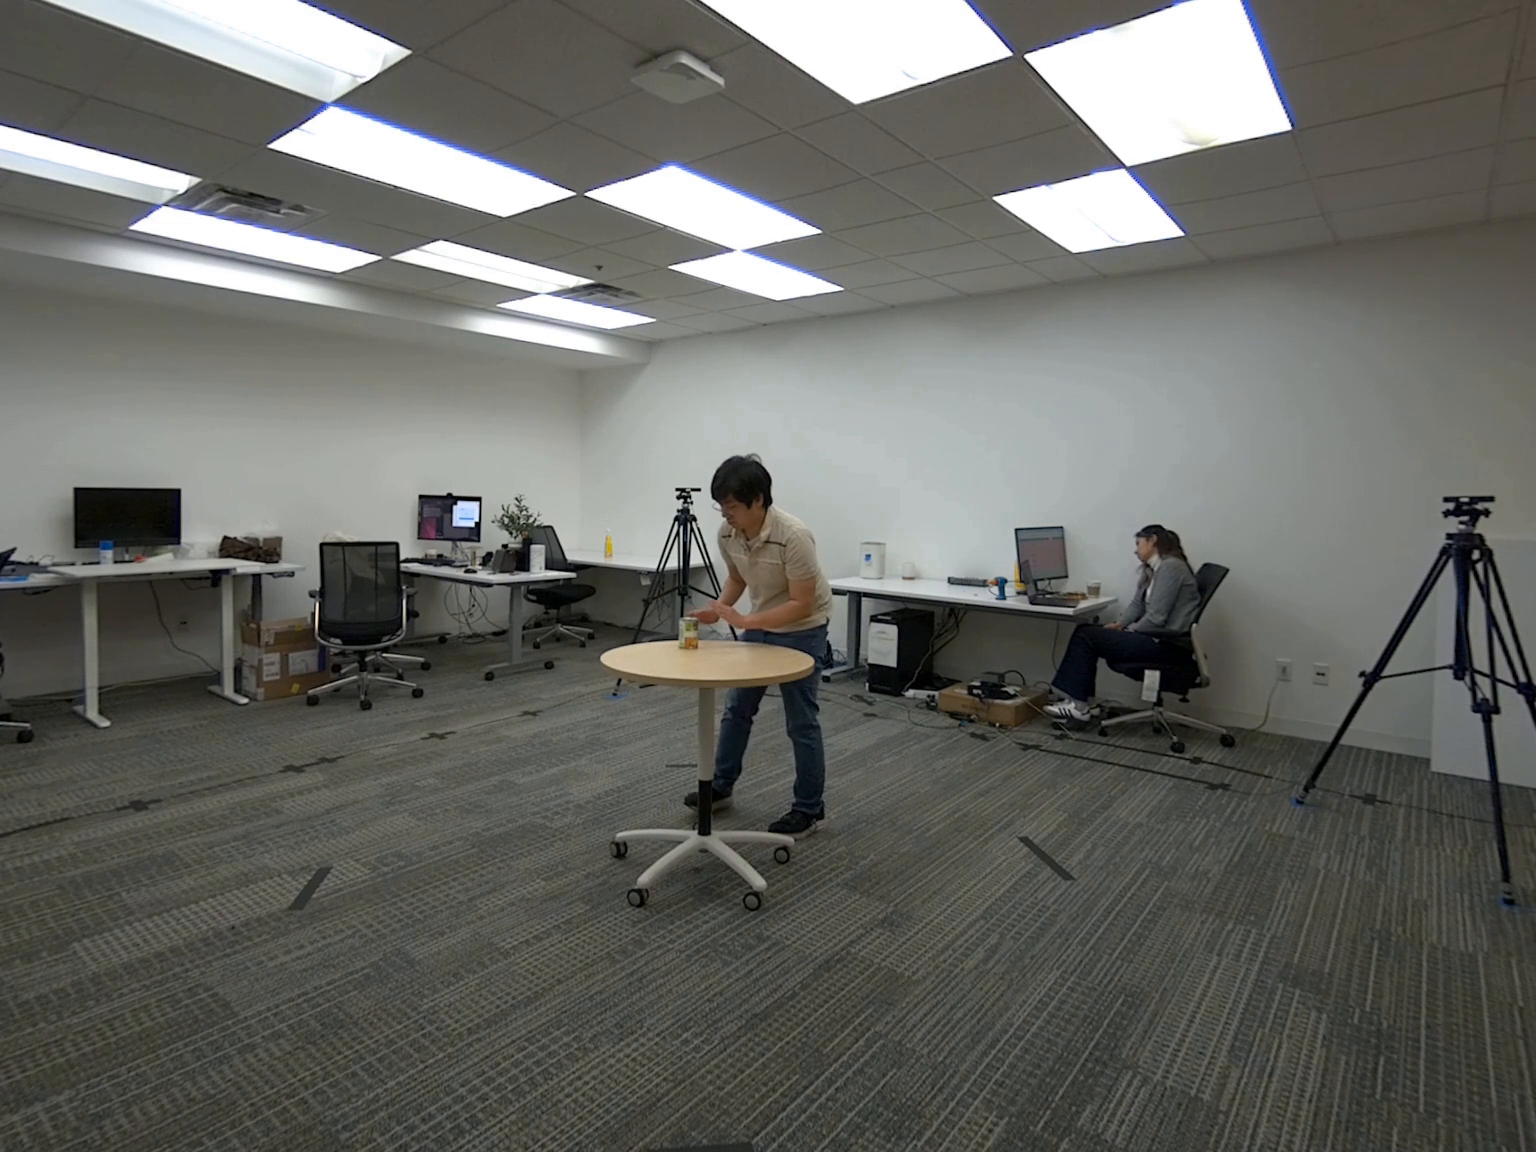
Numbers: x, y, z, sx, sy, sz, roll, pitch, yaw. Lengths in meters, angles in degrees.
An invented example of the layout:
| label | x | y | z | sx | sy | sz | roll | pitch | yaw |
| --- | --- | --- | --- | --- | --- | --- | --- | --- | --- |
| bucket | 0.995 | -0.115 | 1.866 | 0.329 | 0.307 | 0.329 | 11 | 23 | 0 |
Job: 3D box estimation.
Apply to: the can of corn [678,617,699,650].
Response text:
| label | x | y | z | sx | sy | sz | roll | pitch | yaw |
| --- | --- | --- | --- | --- | --- | --- | --- | --- | --- |
| can of corn | -0.319 | 0.215 | 3.266 | 0.074 | 0.111 | 0.074 | 1 | 3 | -2 |
